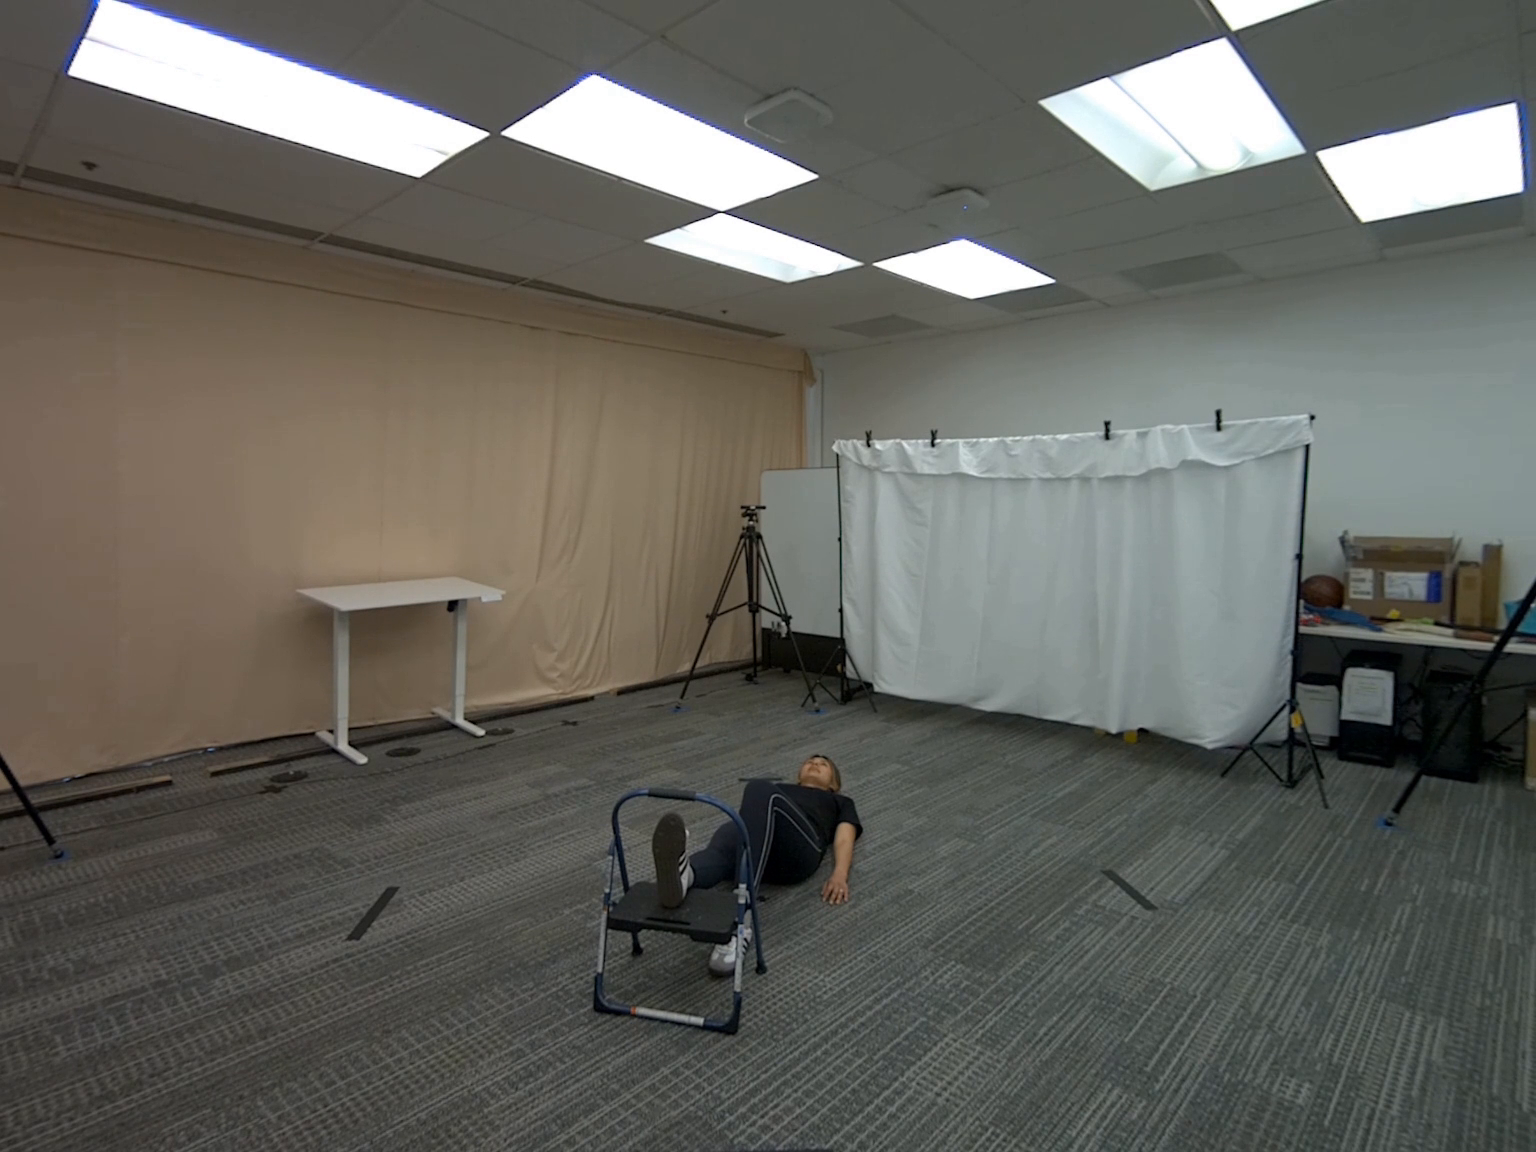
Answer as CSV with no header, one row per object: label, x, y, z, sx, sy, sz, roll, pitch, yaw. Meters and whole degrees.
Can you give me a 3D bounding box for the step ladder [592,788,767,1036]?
step ladder,-0.252,0.892,2.411,0.437,0.605,0.344,1,3,14
